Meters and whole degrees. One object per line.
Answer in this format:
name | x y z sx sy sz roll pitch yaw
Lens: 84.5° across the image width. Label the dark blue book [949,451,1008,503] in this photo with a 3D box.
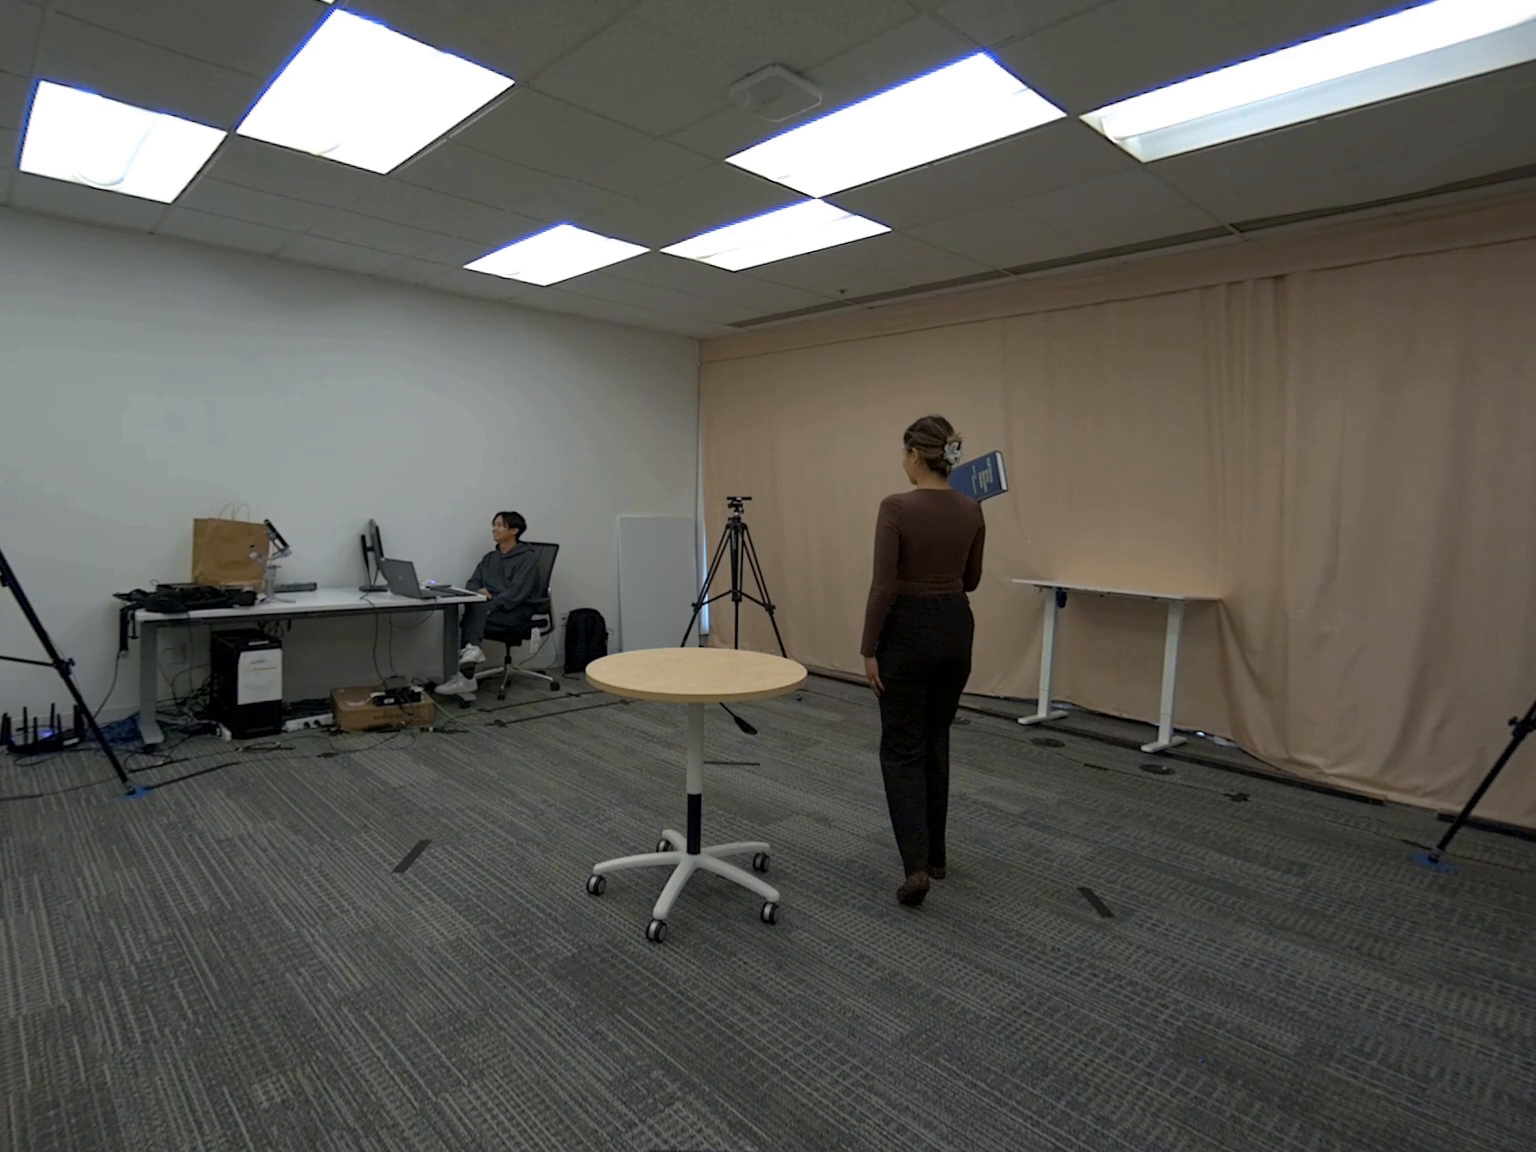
dark blue book | 0.802 -0.371 3.300 0.044 0.166 0.248 12 -24 -40
